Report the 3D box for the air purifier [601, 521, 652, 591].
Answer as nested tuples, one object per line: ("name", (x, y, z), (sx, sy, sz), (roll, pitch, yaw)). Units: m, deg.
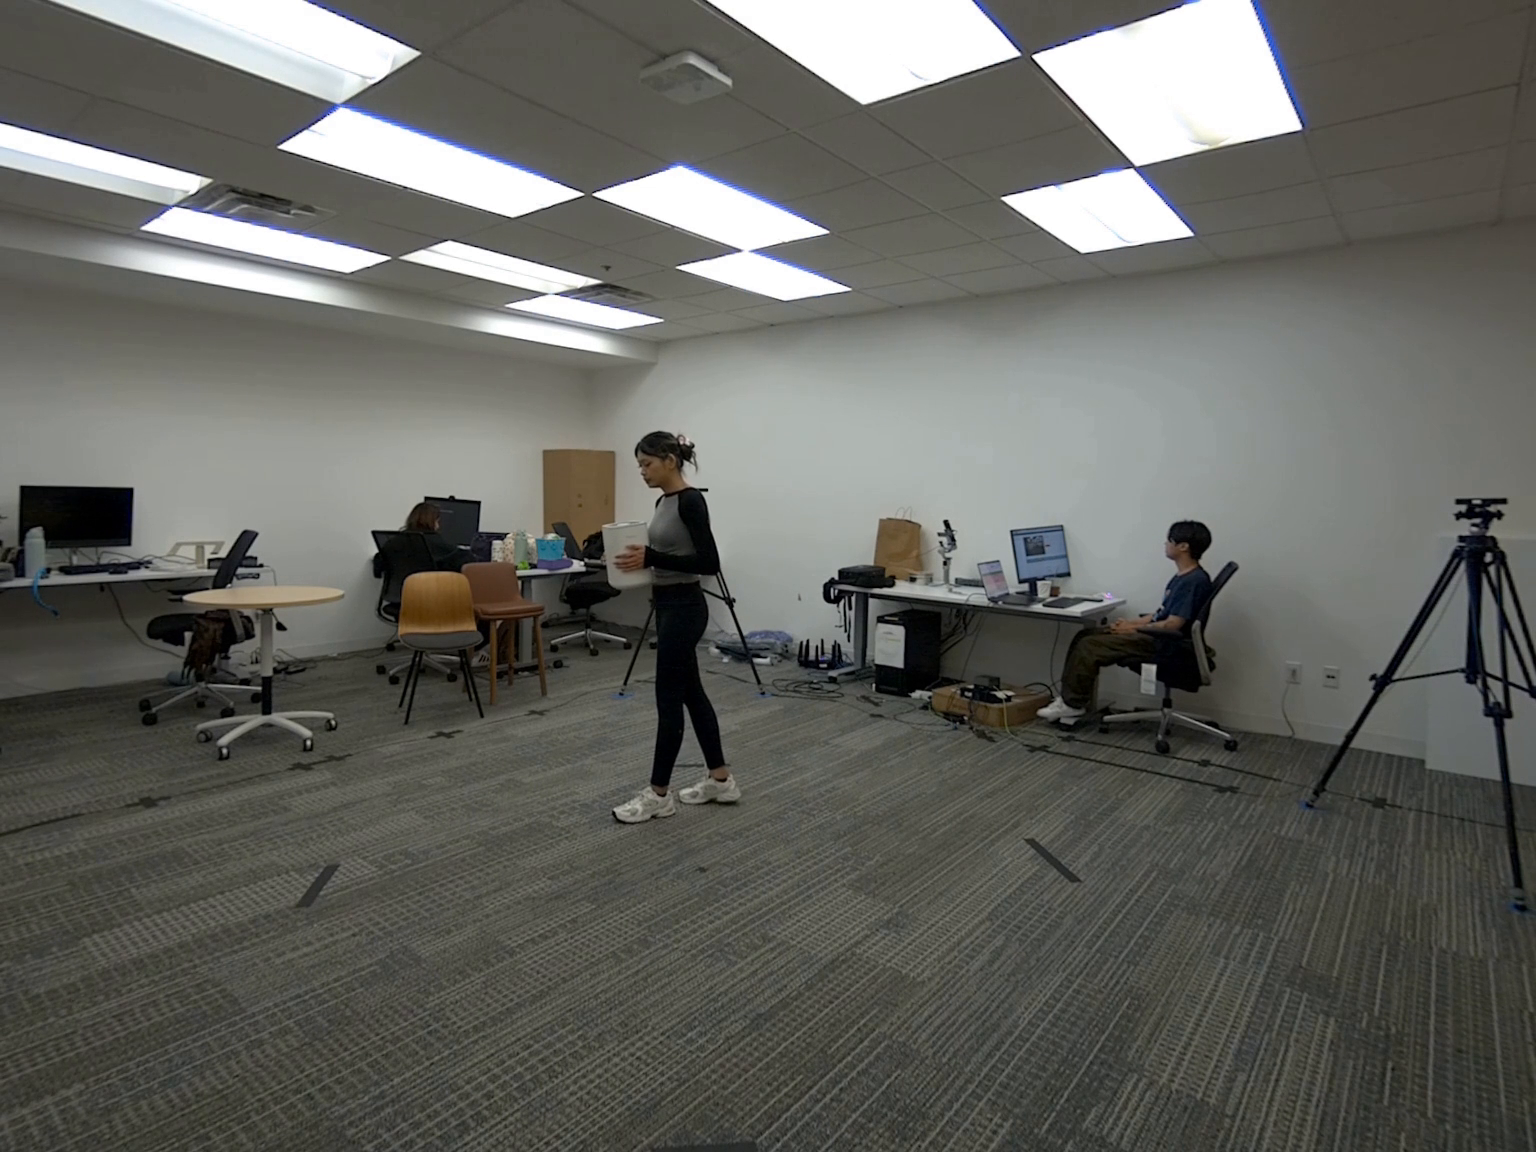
("air purifier", (-0.602, -0.093, 3.582), (0.168, 0.264, 0.176), (-7, 6, -23))
